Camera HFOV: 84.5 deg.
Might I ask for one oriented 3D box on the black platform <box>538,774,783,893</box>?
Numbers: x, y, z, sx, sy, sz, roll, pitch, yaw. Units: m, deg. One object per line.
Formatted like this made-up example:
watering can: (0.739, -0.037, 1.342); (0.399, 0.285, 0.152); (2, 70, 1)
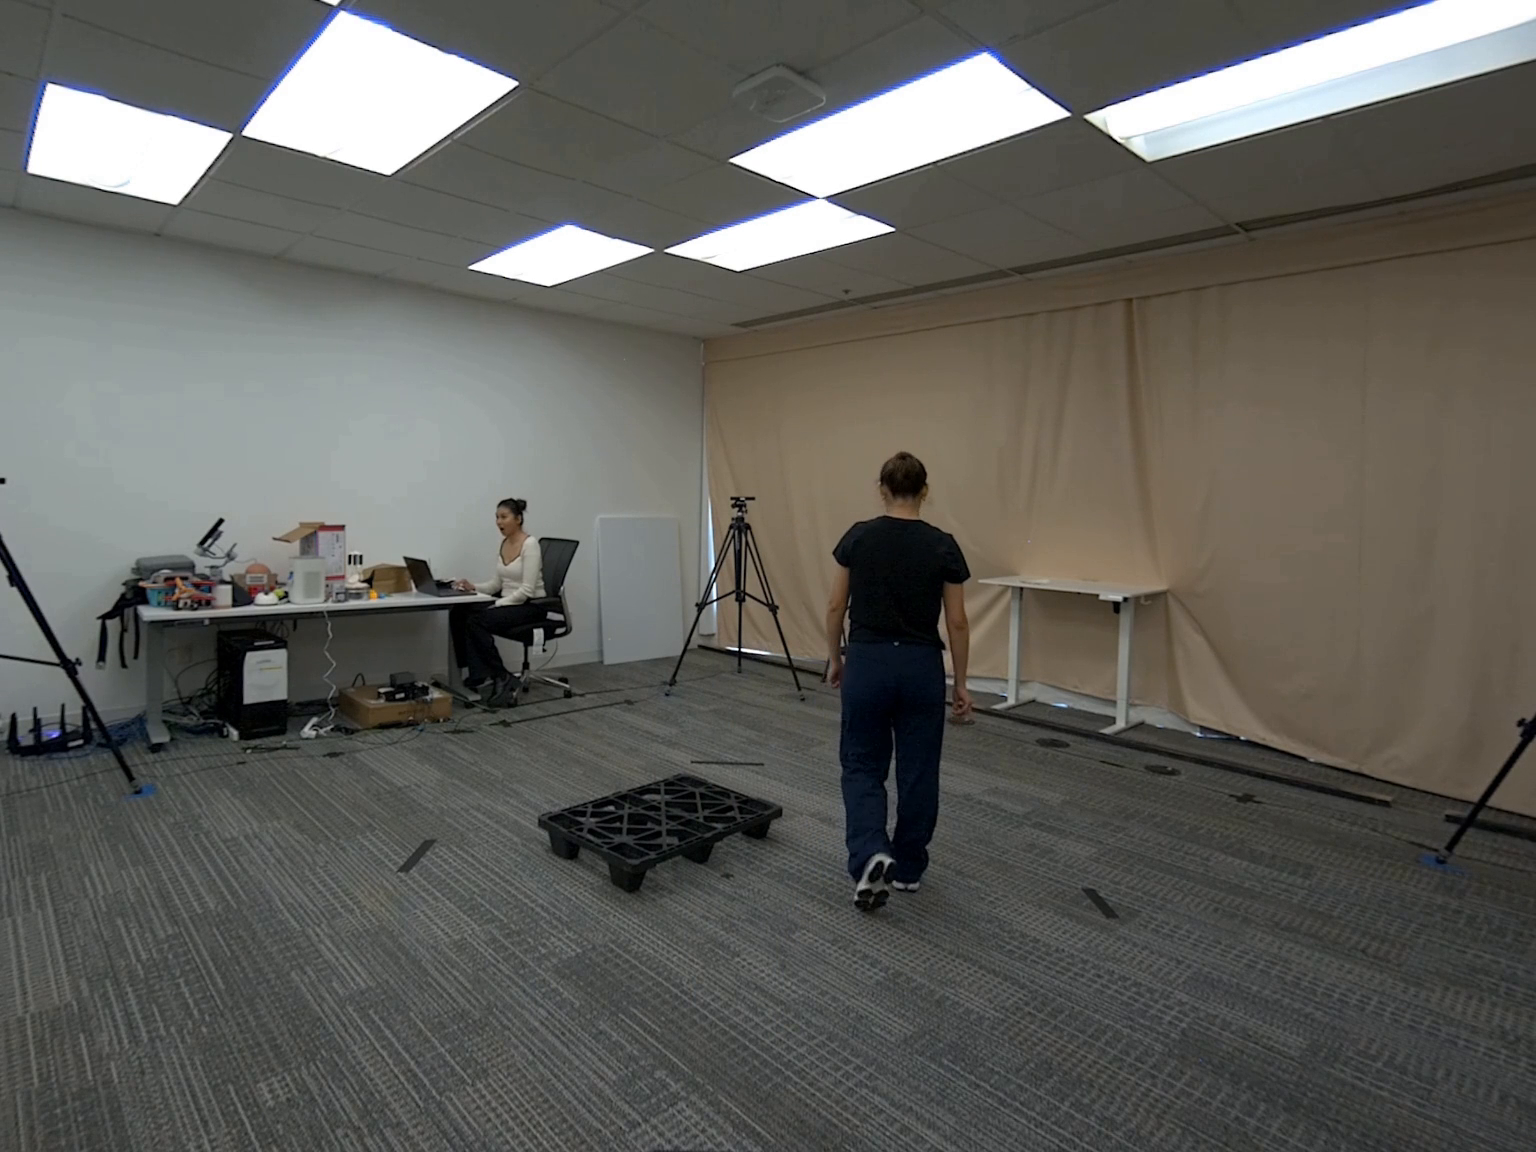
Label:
black platform: (-0.427, 1.012, 3.355); (0.620, 0.143, 0.787); (5, 6, 42)
